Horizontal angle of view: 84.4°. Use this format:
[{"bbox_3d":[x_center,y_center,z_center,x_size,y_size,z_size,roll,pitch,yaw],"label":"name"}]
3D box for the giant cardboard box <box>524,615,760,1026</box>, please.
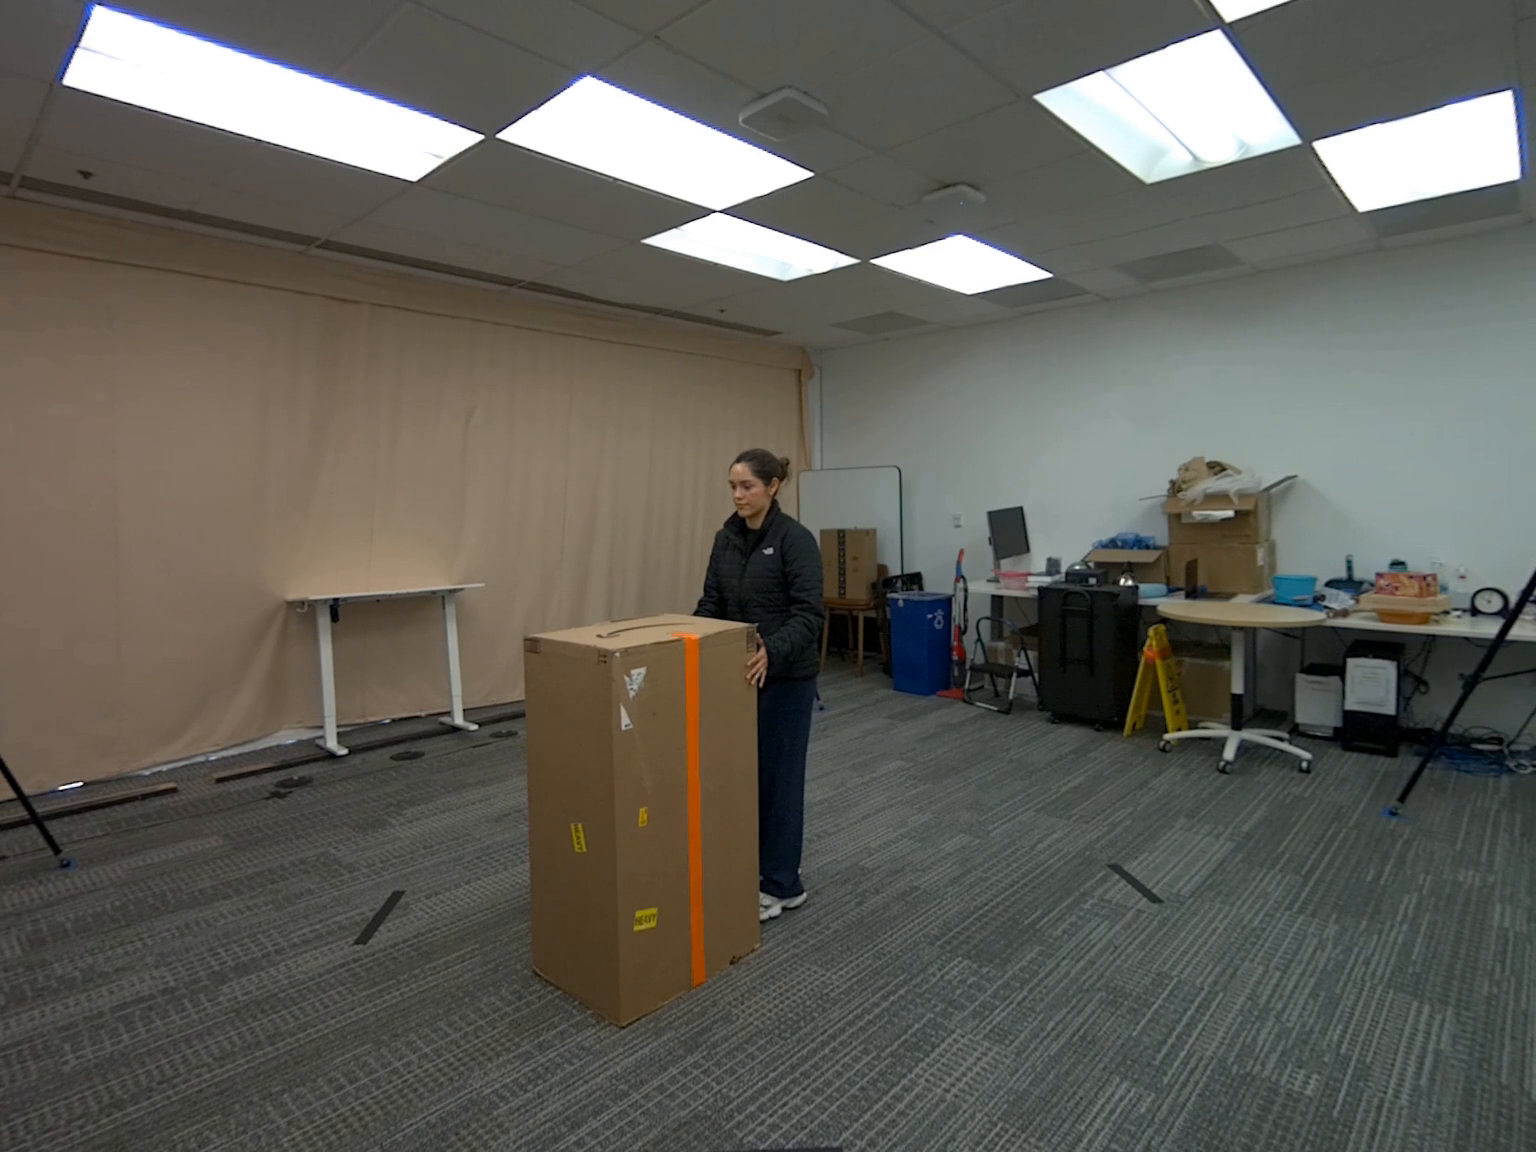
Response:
[{"bbox_3d":[-0.362,0.678,2.563,0.440,1.024,0.560,2,4,42],"label":"giant cardboard box"}]
